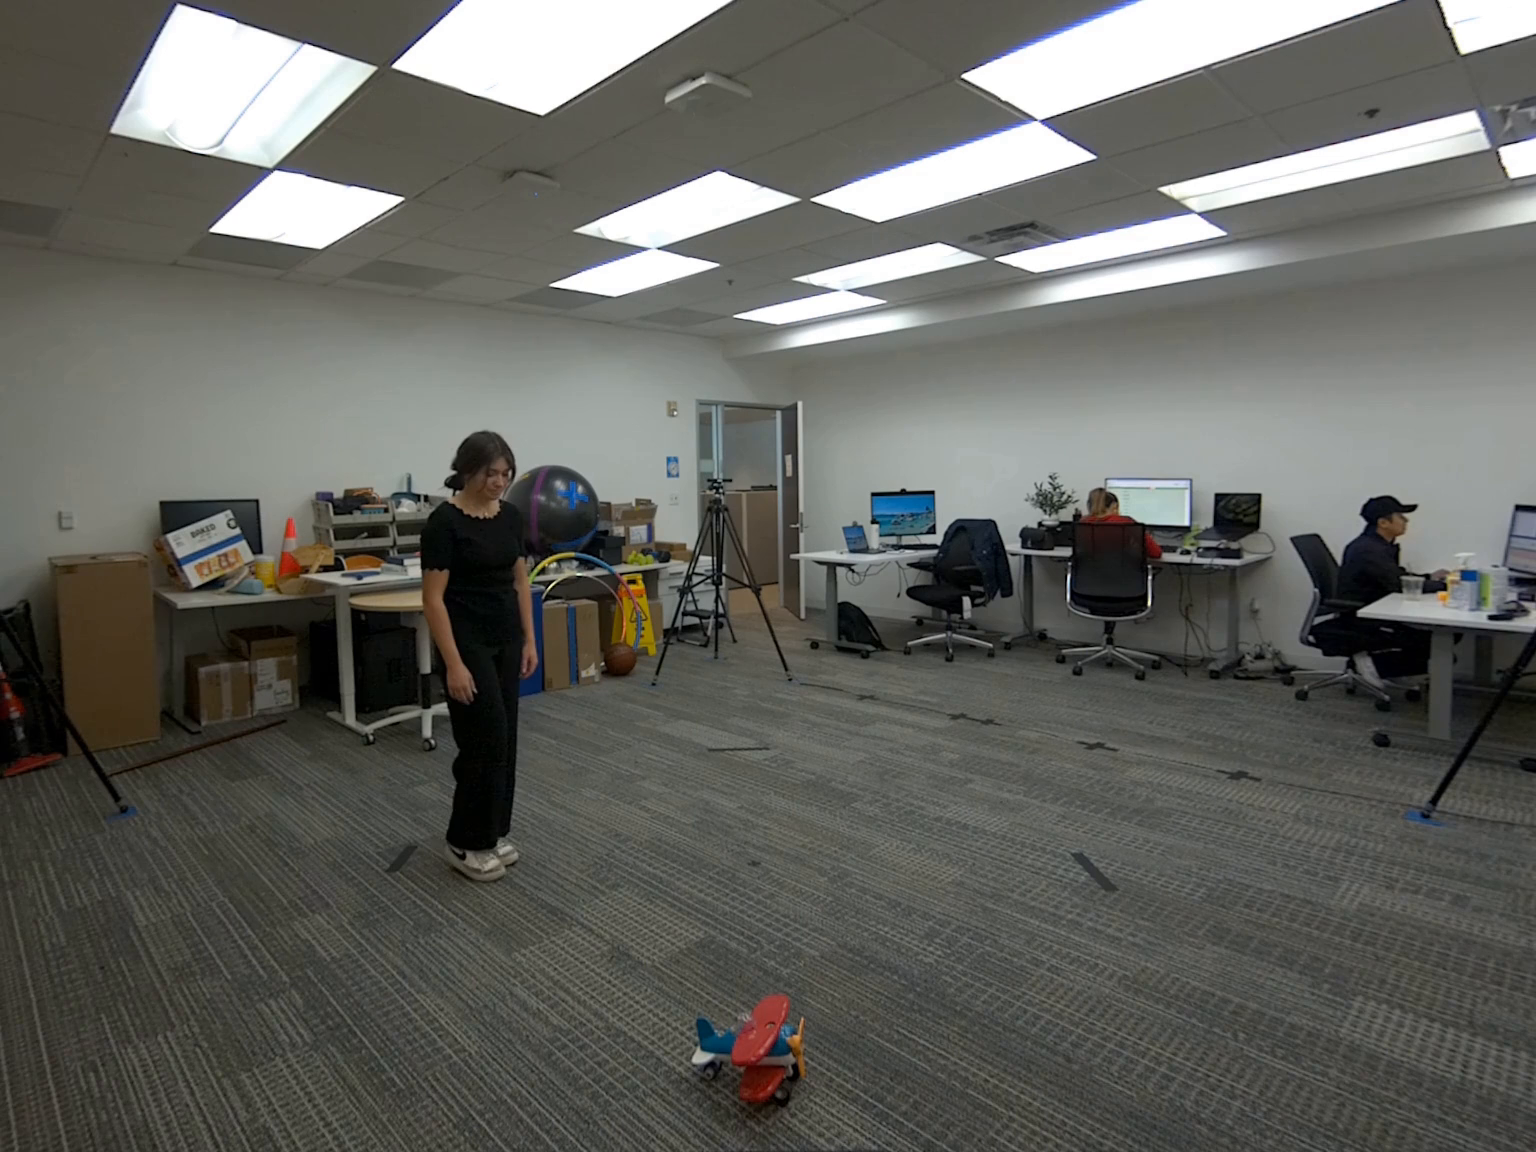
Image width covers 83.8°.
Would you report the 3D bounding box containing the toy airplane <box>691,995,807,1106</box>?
[{"bbox_3d":[-0.037,1.106,1.964,0.257,0.156,0.254,-1,6,-8],"label":"toy airplane"}]
